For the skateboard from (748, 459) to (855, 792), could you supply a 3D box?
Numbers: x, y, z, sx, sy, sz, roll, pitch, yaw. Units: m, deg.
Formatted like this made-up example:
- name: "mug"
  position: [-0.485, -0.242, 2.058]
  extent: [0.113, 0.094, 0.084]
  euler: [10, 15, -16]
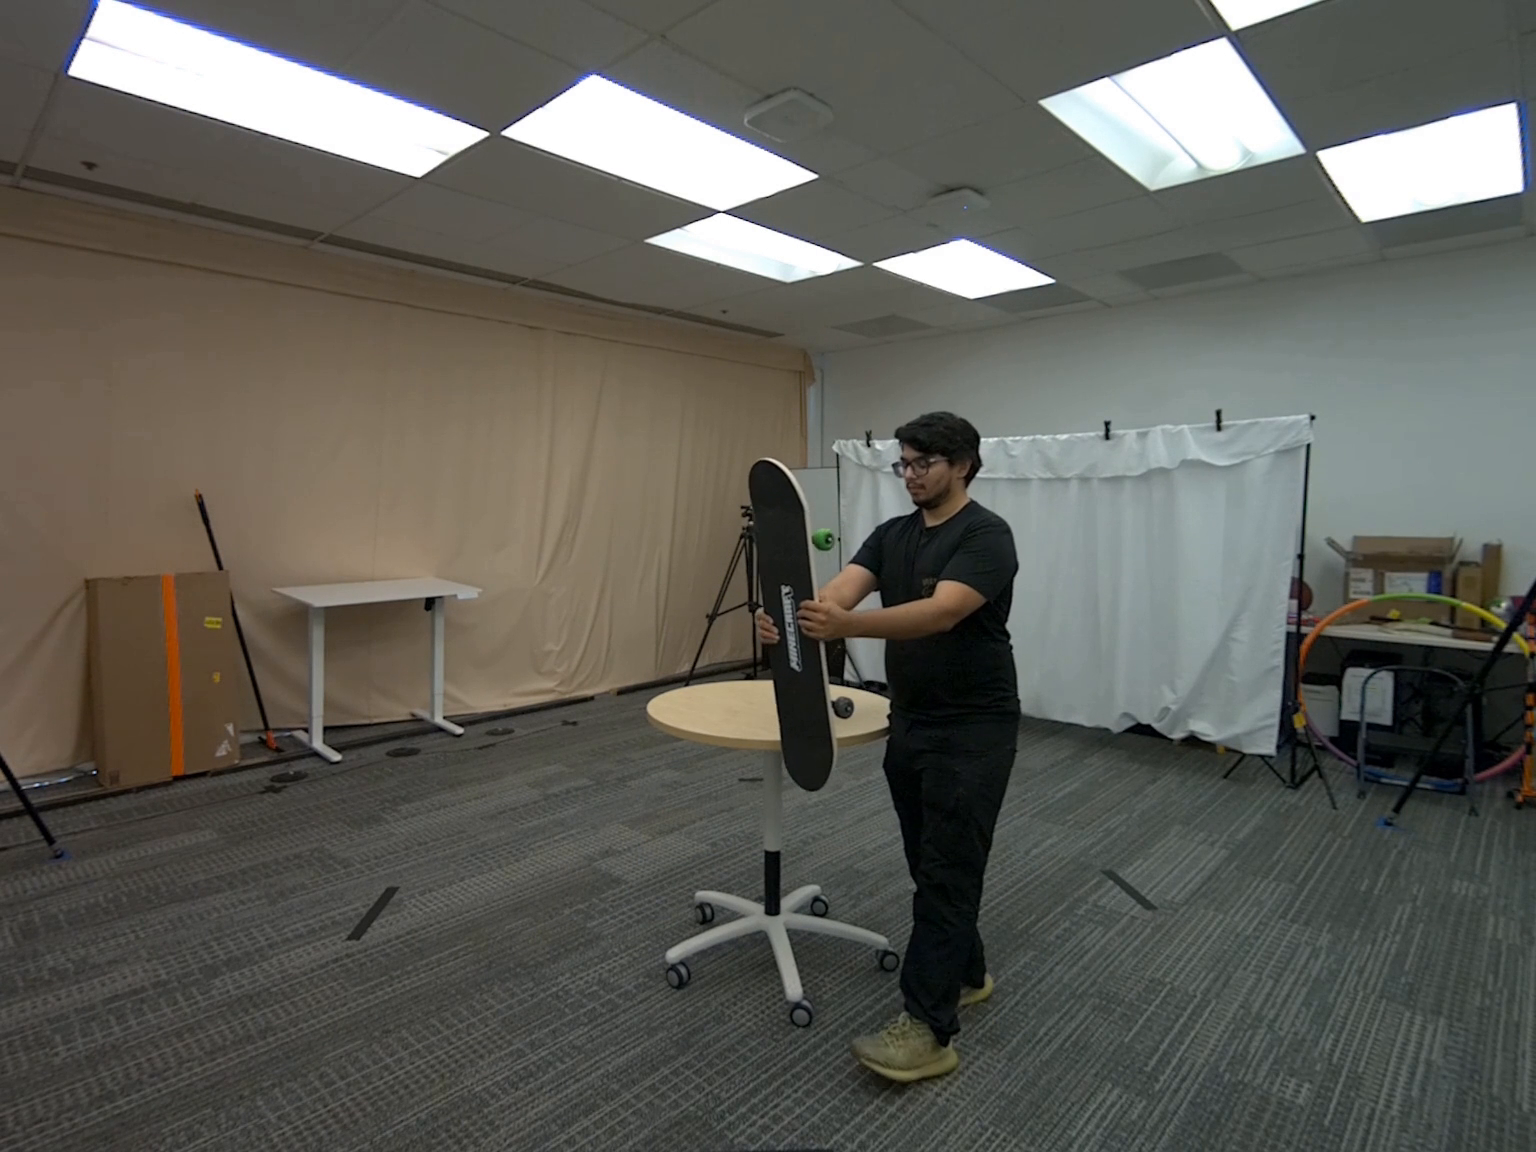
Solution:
- name: "skateboard"
  position: [0.085, 0.114, 1.957]
  extent: [0.107, 0.780, 0.200]
  euler: [-14, 12, -37]
